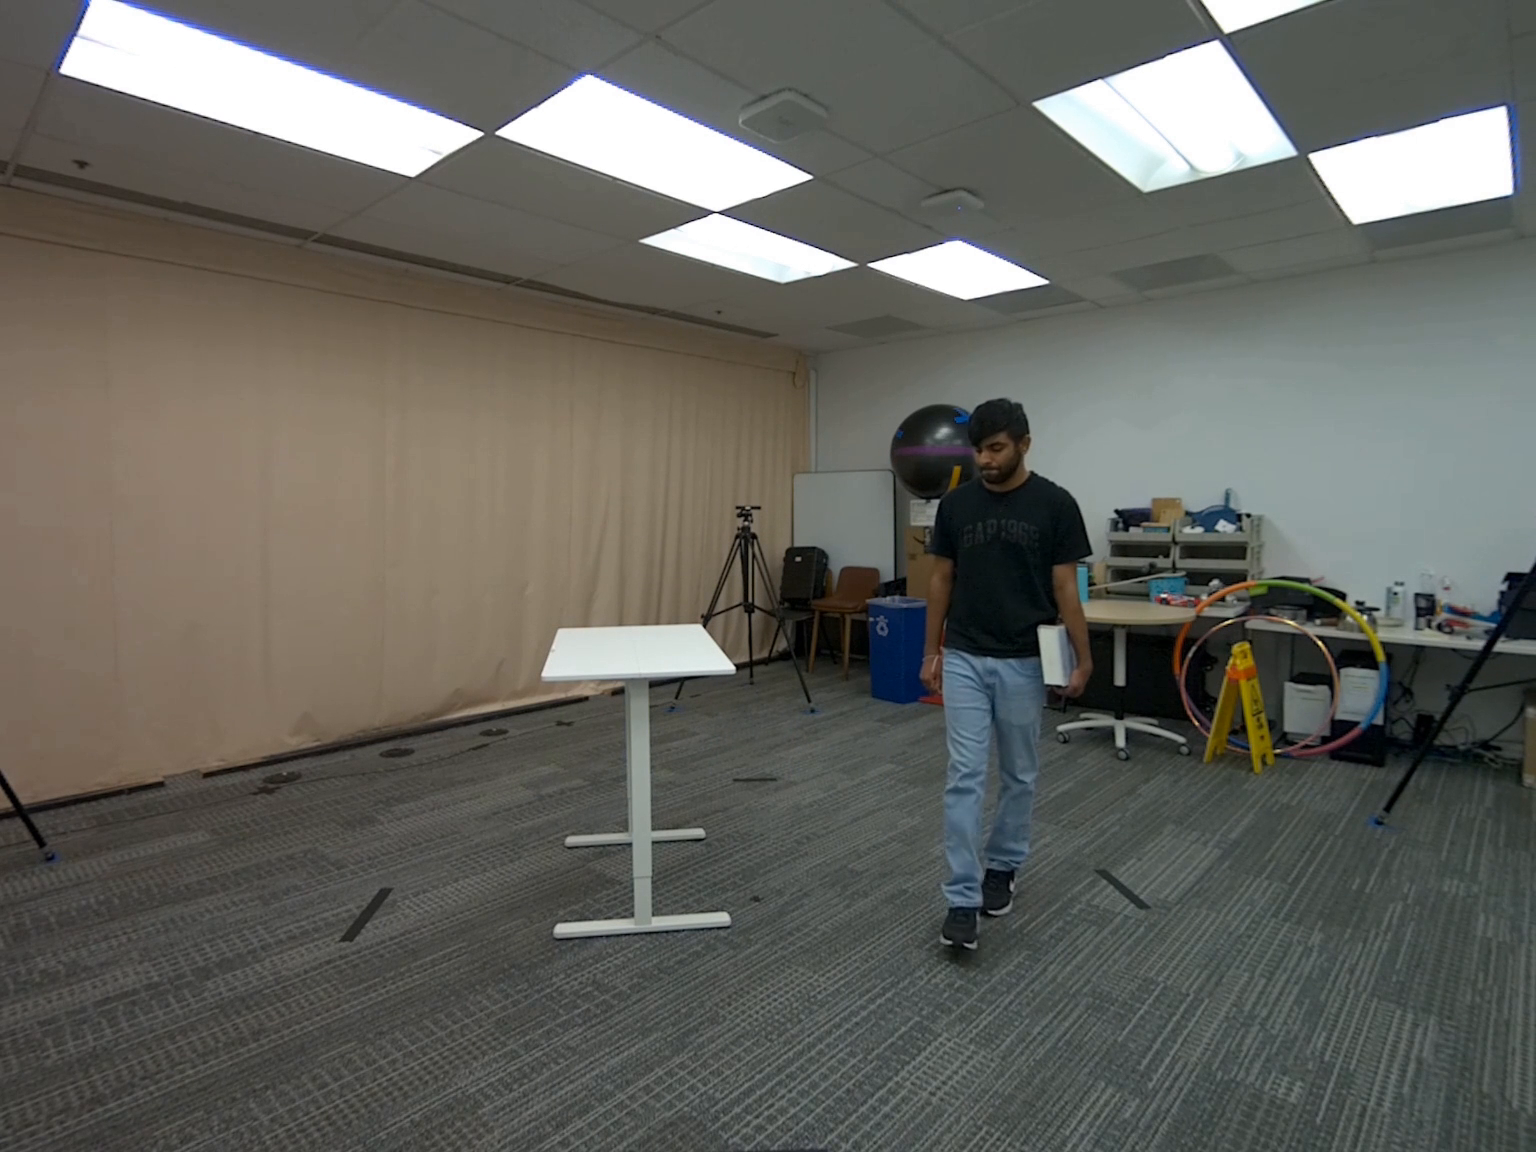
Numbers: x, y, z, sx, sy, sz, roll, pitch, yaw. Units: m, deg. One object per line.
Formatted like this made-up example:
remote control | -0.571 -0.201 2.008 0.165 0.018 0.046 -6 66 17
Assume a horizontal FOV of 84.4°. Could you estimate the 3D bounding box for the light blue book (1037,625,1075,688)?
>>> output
light blue book | 0.967 0.257 2.773 0.060 0.192 0.253 -9 -6 31
